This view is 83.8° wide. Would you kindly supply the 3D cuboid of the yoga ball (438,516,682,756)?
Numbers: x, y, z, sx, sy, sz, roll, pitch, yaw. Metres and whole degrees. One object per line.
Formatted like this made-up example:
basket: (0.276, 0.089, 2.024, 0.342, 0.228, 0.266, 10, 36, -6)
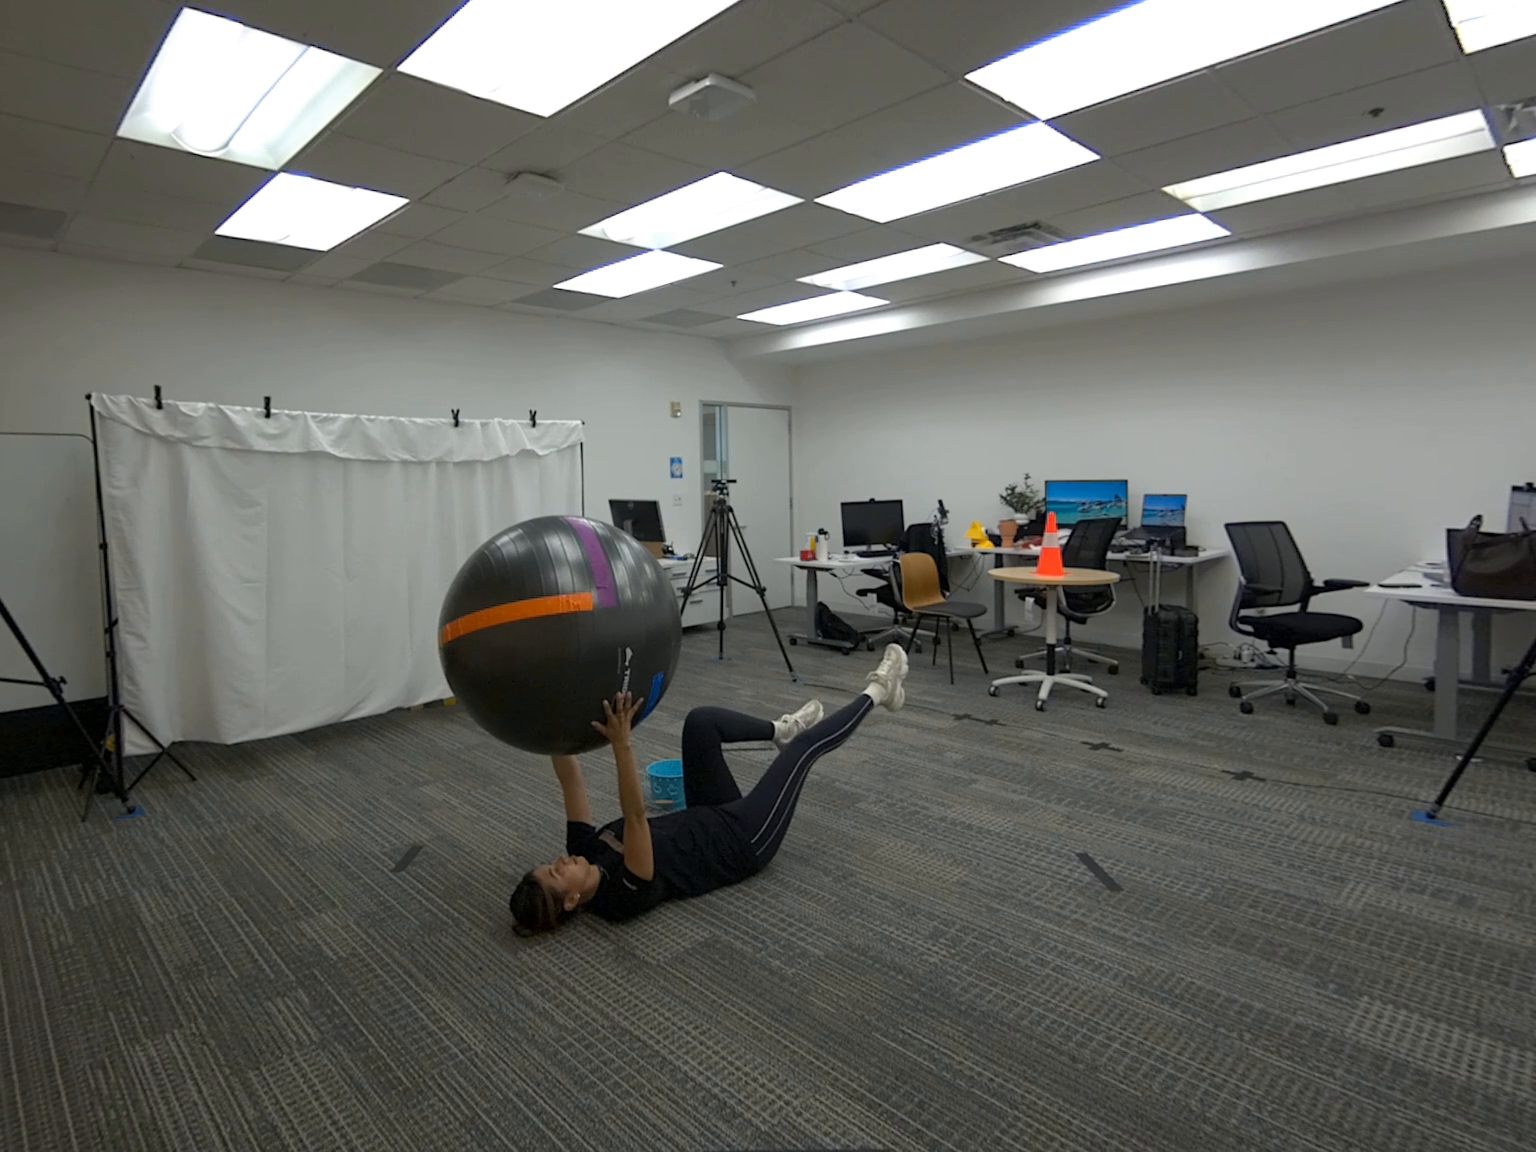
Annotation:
yoga ball: (-0.655, 0.186, 2.726, 0.757, 0.757, 0.759, 0, 1, -2)
